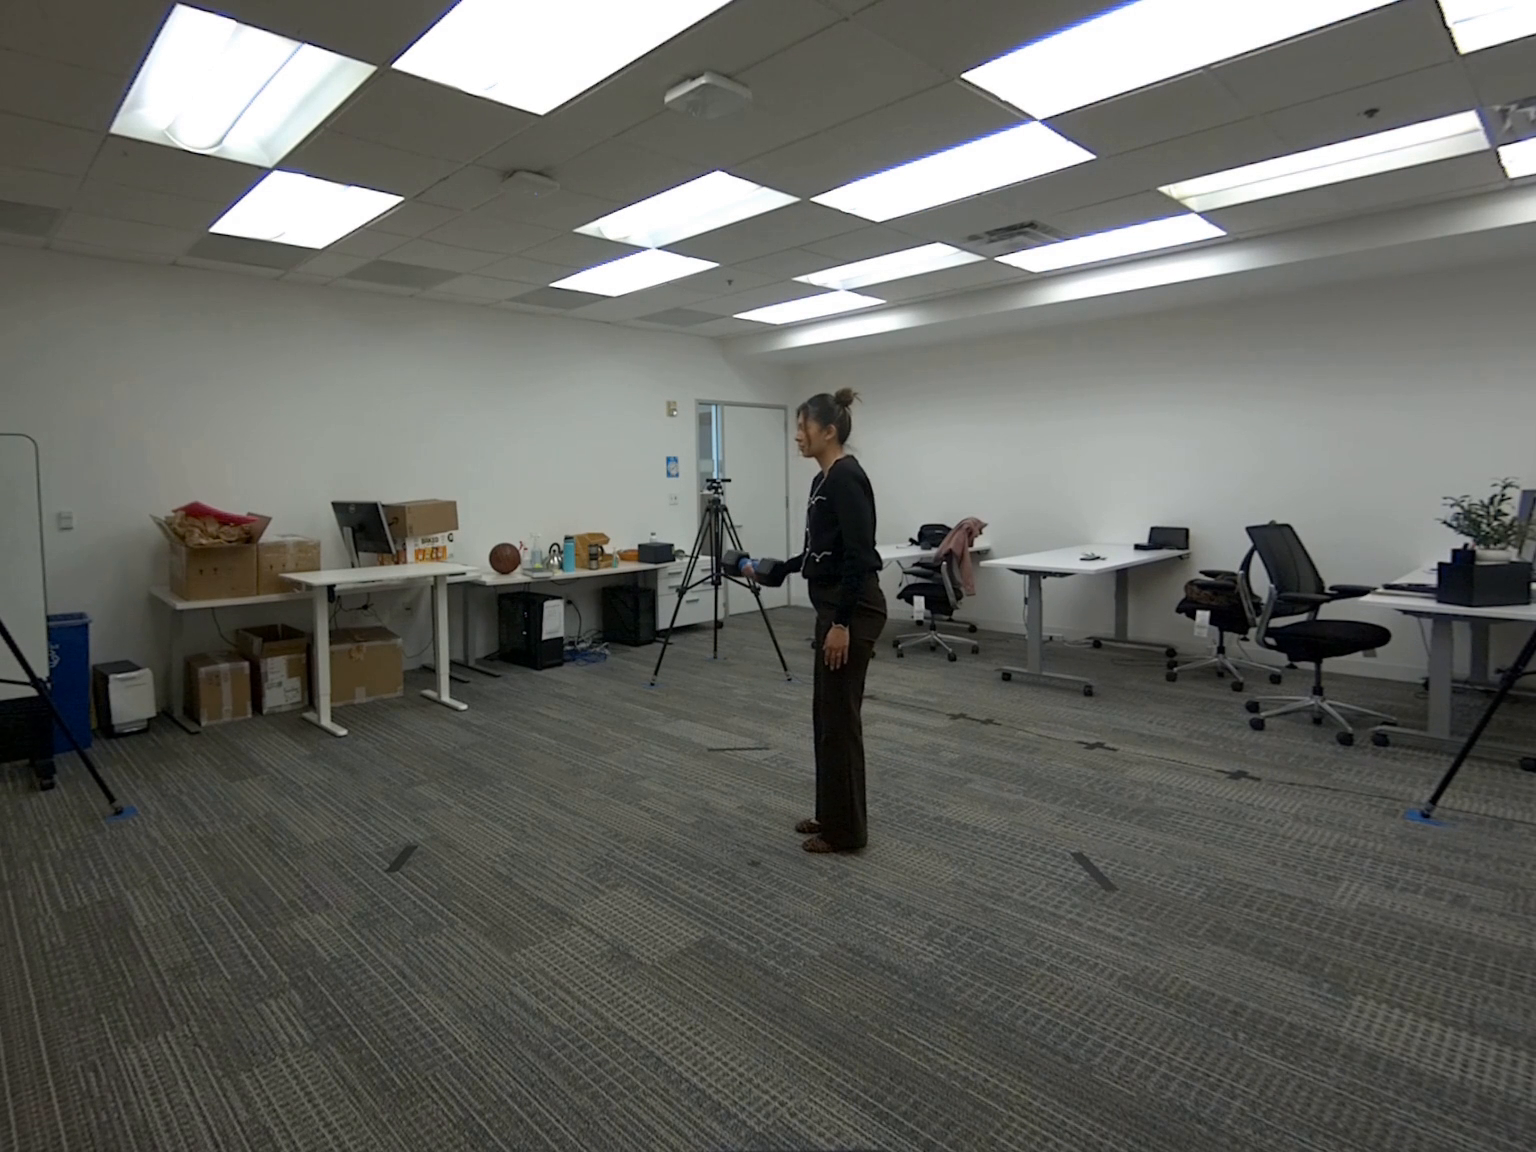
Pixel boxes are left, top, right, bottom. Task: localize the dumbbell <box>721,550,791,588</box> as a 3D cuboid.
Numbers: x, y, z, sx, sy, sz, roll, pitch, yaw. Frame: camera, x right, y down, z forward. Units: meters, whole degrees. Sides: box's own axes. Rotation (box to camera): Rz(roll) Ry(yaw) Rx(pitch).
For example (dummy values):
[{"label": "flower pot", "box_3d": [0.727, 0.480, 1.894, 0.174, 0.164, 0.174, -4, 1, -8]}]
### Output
[{"label": "dumbbell", "box_3d": [-0.050, -0.034, 3.443, 0.304, 0.123, 0.104, 15, -19, 49]}]
